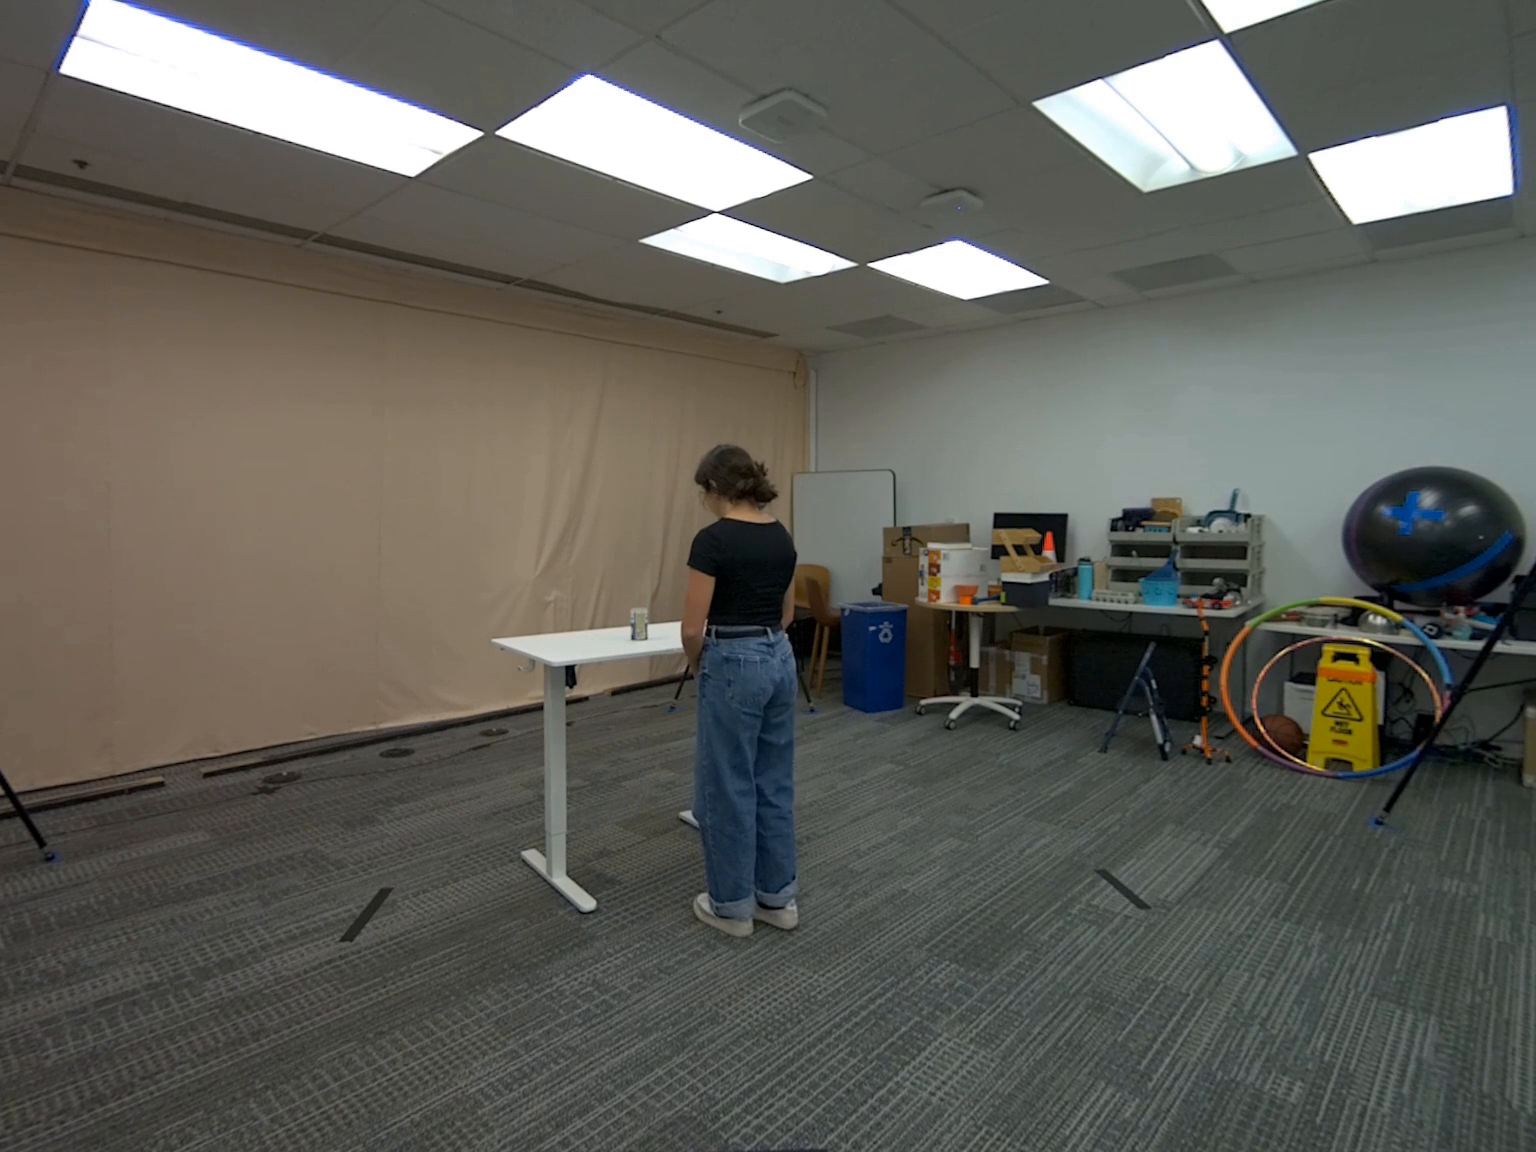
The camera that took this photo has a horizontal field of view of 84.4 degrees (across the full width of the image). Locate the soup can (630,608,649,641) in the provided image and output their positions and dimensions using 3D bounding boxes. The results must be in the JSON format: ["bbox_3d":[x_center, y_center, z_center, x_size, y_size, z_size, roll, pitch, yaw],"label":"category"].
[{"bbox_3d":[-0.496,0.188,3.244,0.067,0.121,0.067,1,3,-2],"label":"soup can"}]
